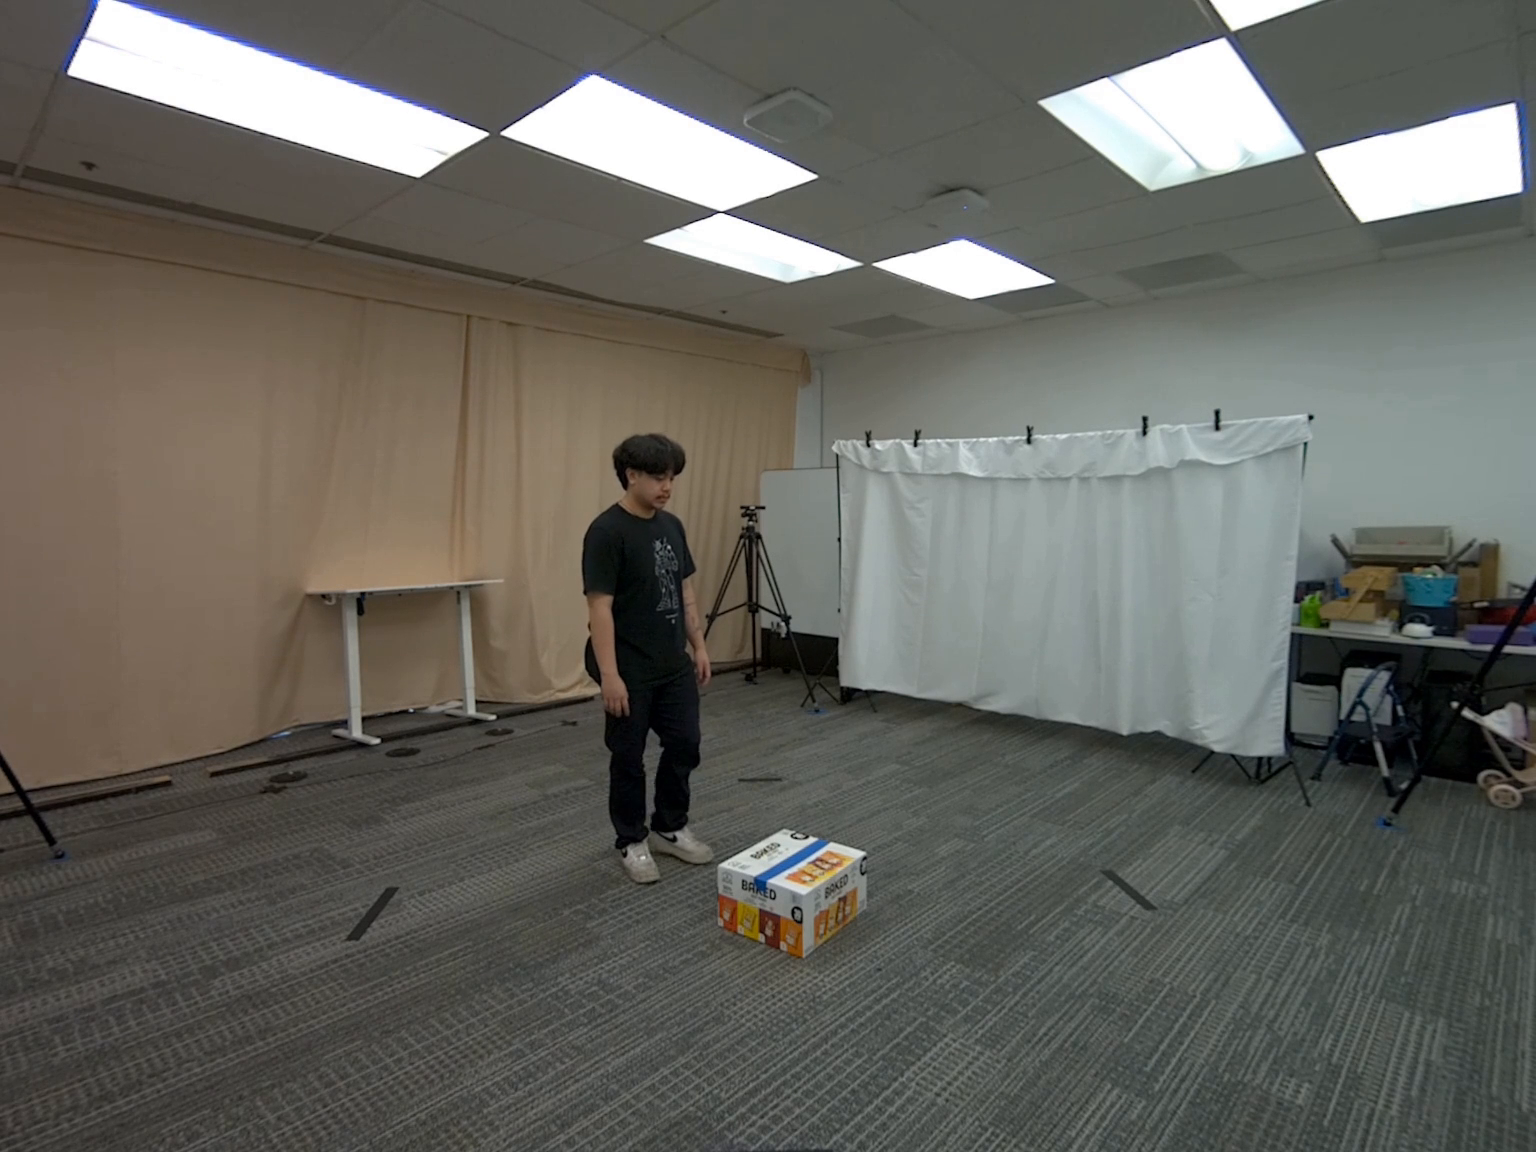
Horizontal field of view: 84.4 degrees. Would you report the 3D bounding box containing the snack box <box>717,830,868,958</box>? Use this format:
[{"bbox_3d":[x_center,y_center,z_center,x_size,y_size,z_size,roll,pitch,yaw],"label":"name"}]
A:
[{"bbox_3d":[0.090,1.054,2.839,0.351,0.205,0.393,3,6,36],"label":"snack box"}]
